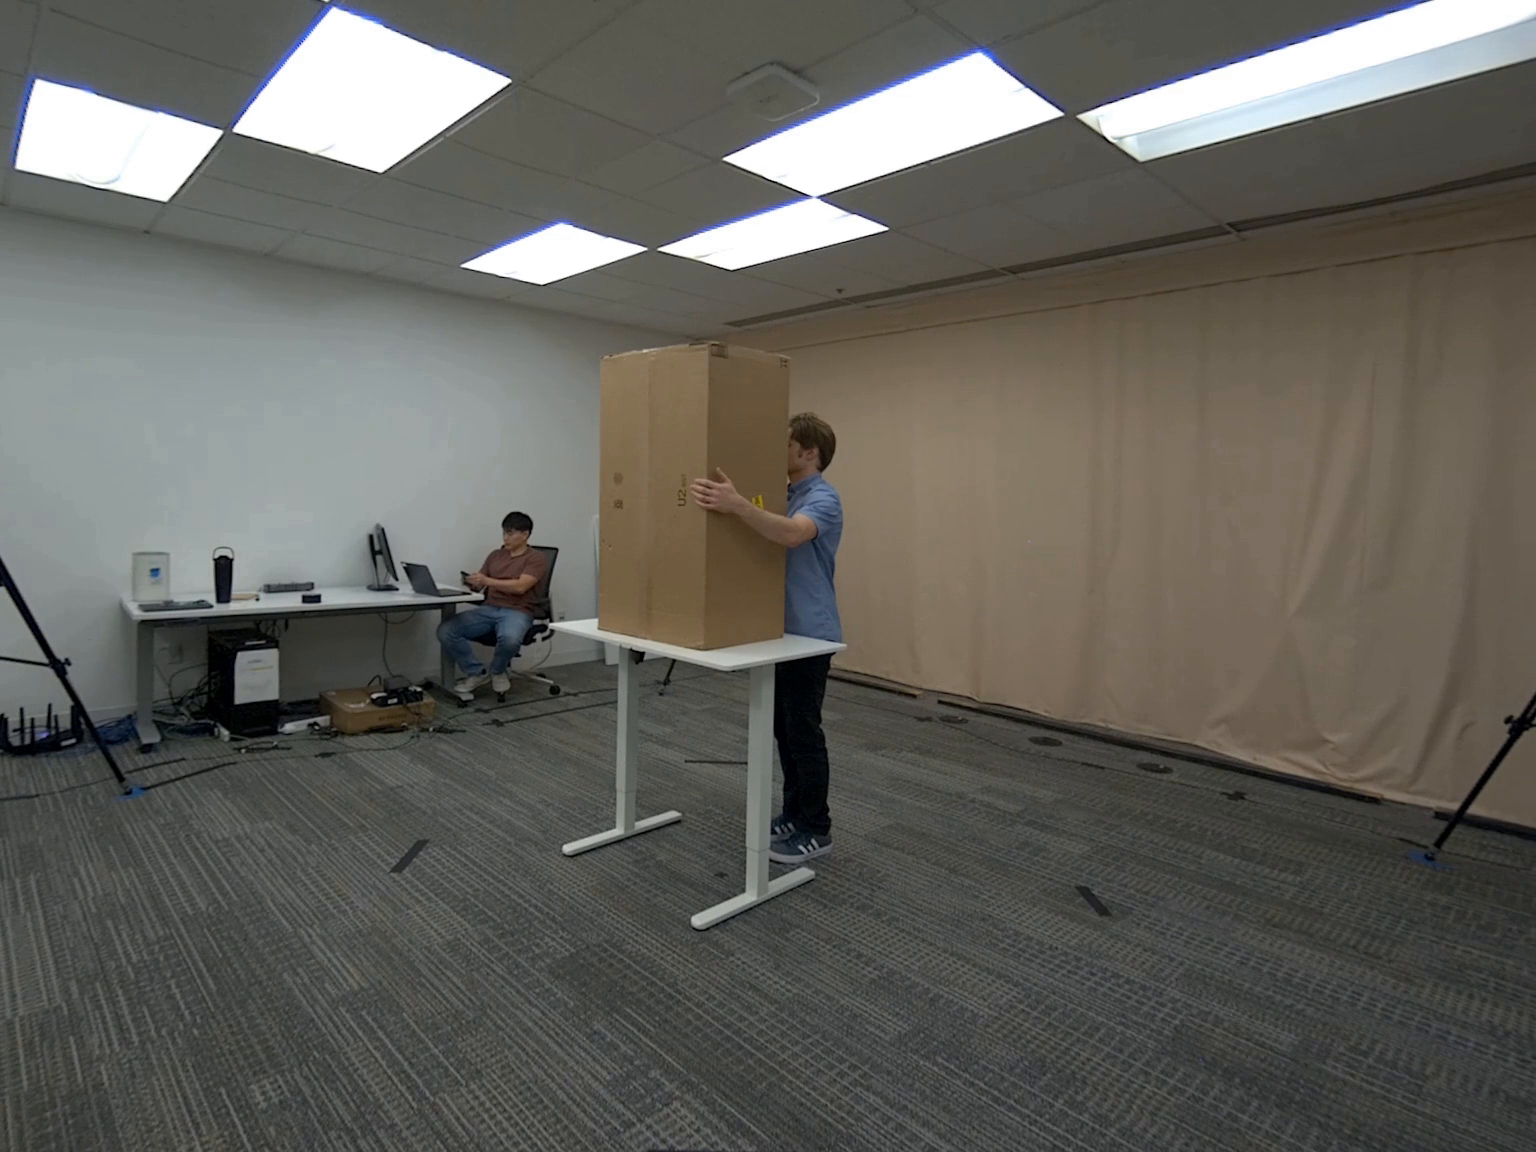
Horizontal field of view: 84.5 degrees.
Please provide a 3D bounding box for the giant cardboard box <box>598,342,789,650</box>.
[{"bbox_3d":[-0.286,-0.291,3.107,0.592,1.023,0.416,5,5,42],"label":"giant cardboard box"}]
